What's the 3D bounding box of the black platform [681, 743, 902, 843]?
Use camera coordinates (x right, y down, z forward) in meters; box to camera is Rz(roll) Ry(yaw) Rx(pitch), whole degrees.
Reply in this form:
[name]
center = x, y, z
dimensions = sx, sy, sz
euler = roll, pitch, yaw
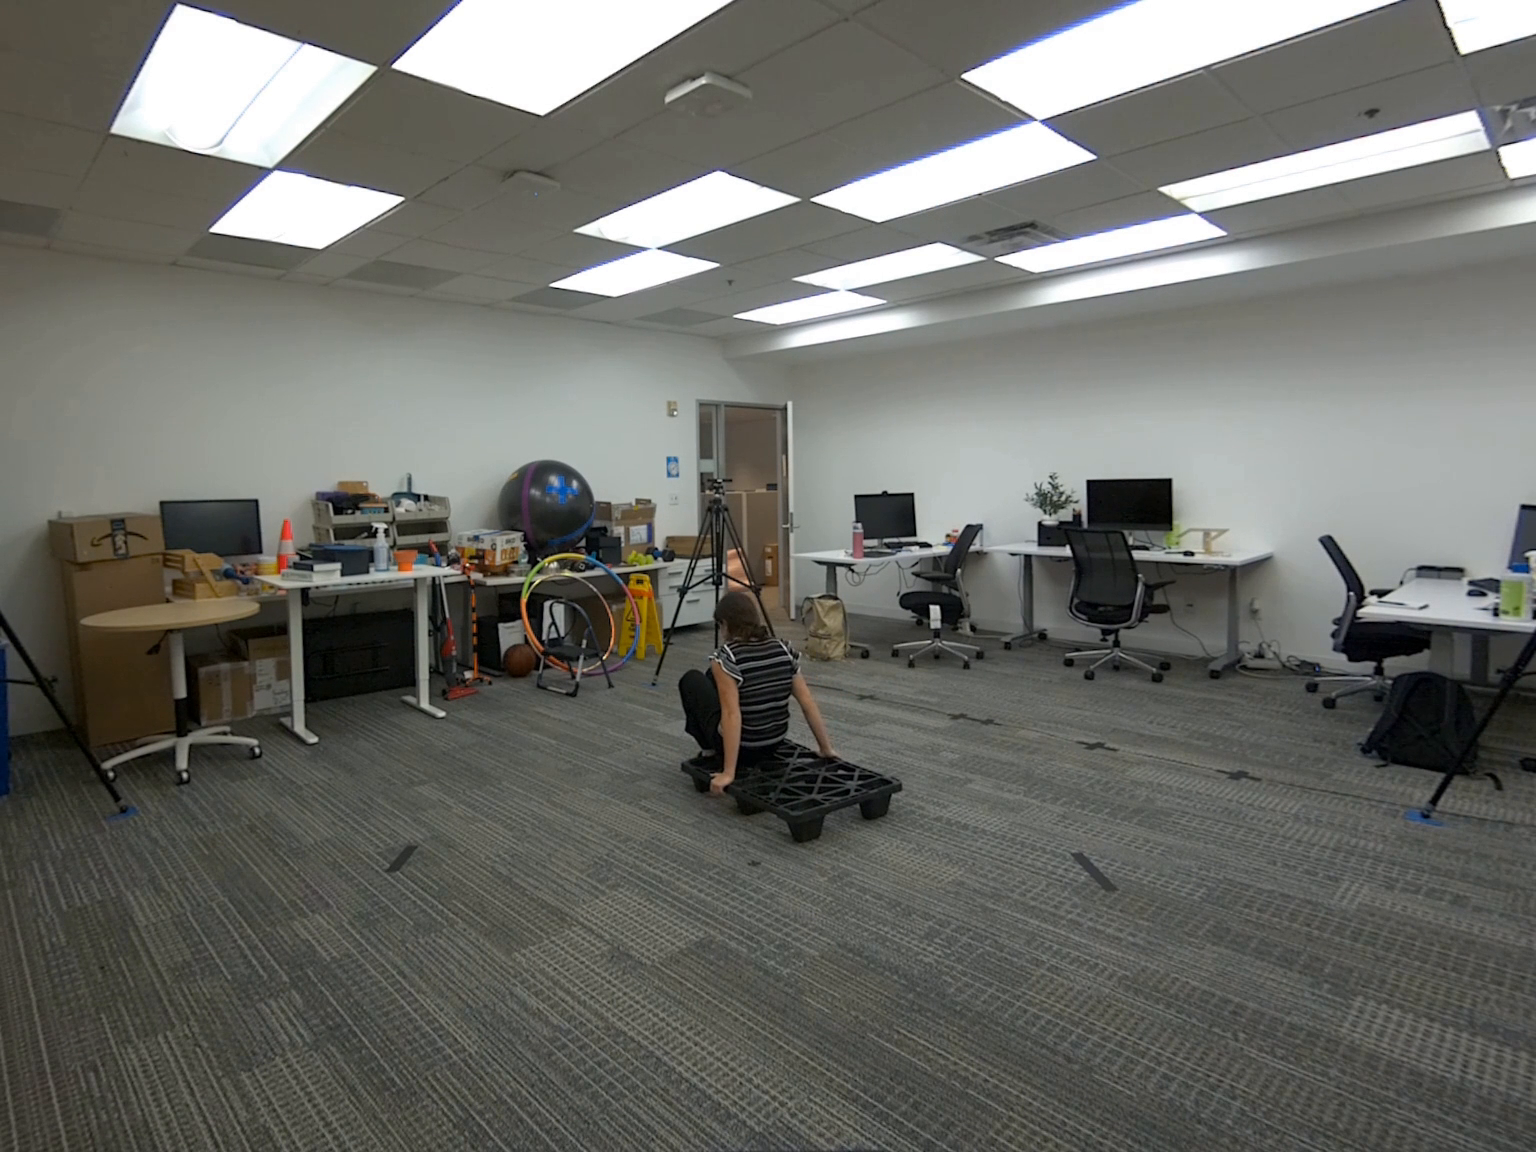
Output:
[black platform]
center = 0.082, 0.907, 3.692
dimensions = 0.589, 0.143, 0.830
euler = -4, 7, -37
